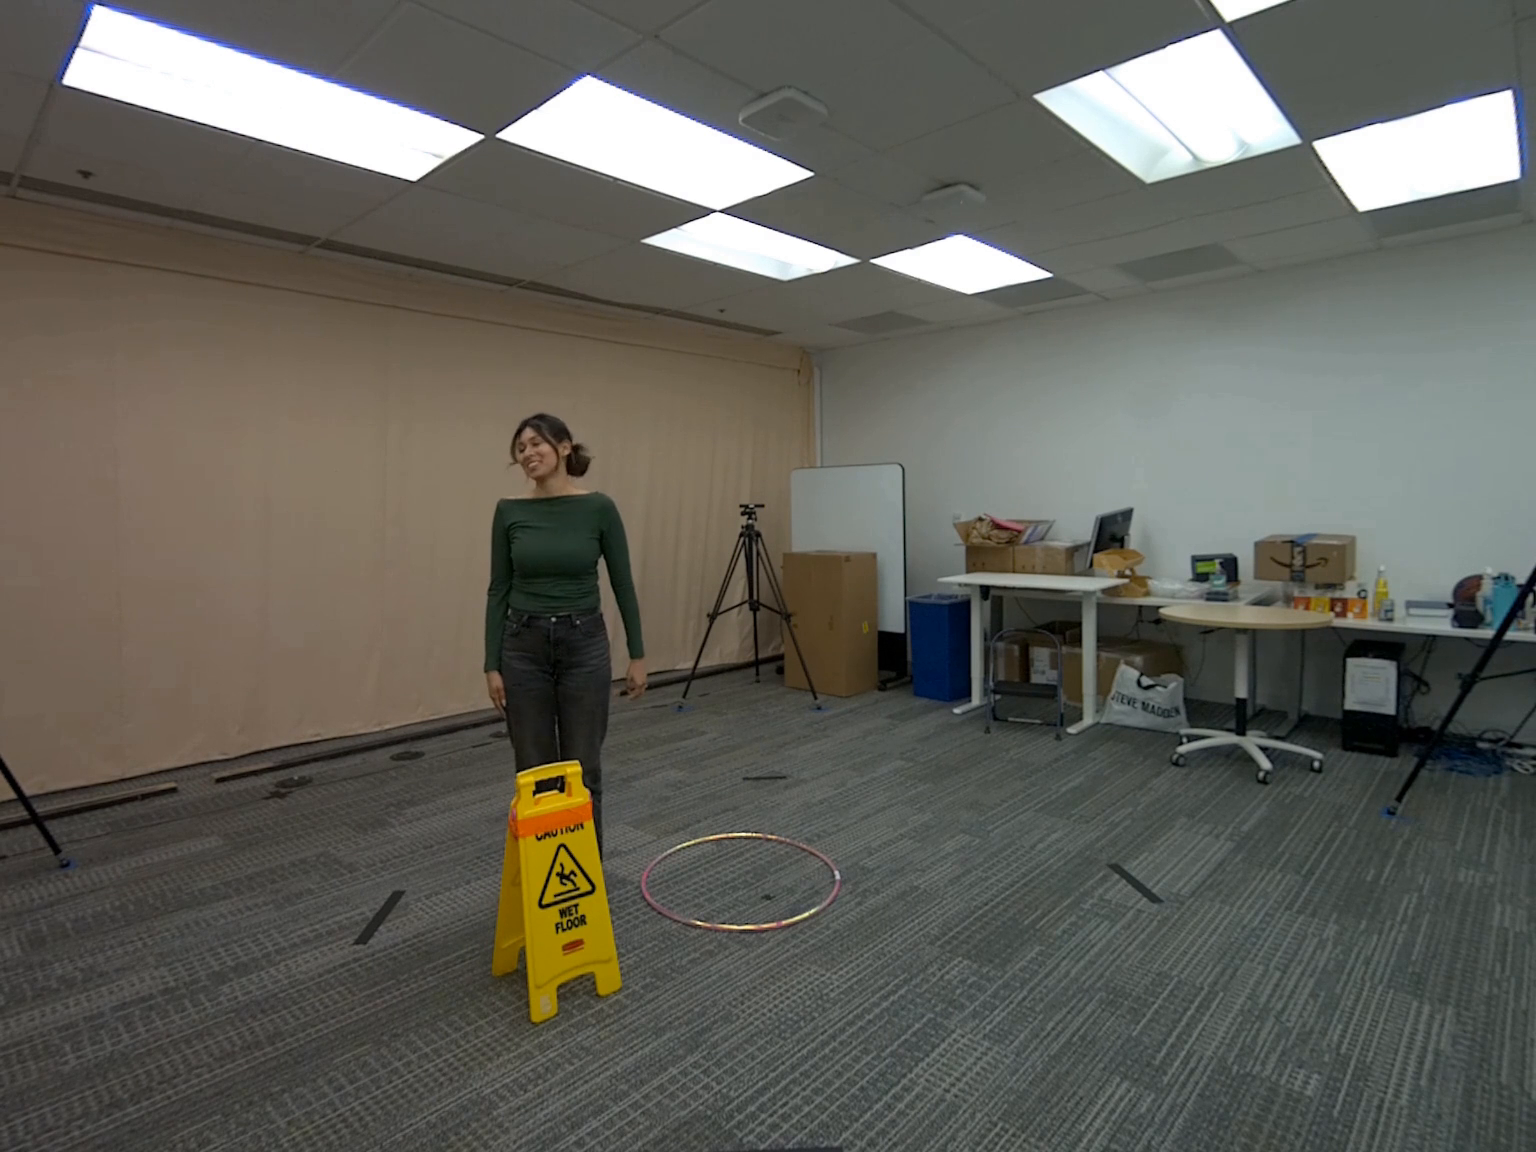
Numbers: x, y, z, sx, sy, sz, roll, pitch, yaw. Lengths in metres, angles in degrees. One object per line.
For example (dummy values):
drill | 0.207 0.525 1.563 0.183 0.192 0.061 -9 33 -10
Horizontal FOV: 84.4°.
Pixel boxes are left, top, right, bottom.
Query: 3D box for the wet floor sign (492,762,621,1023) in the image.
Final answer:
wet floor sign | -0.630 0.876 2.463 0.274 0.645 0.299 -3 3 -38
